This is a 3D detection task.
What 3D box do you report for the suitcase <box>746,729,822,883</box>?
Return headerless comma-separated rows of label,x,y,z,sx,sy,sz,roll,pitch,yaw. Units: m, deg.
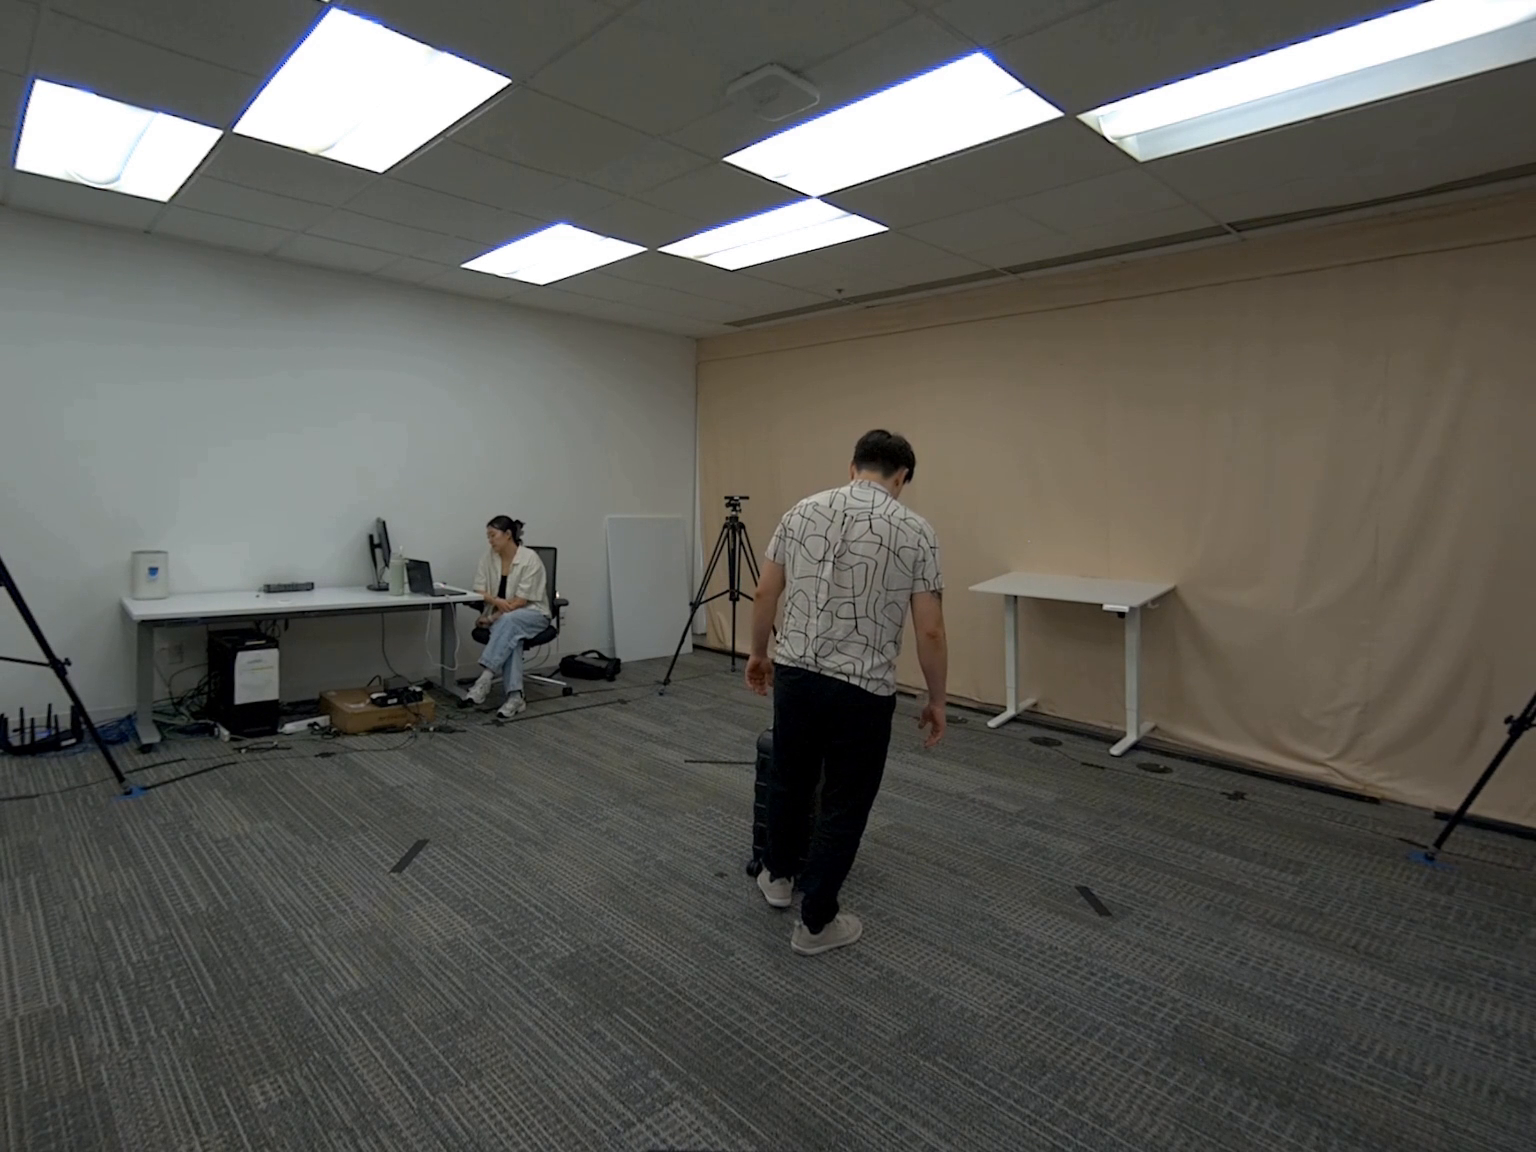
suitcase,0.116,0.828,3.189,0.253,0.548,0.368,3,2,27
